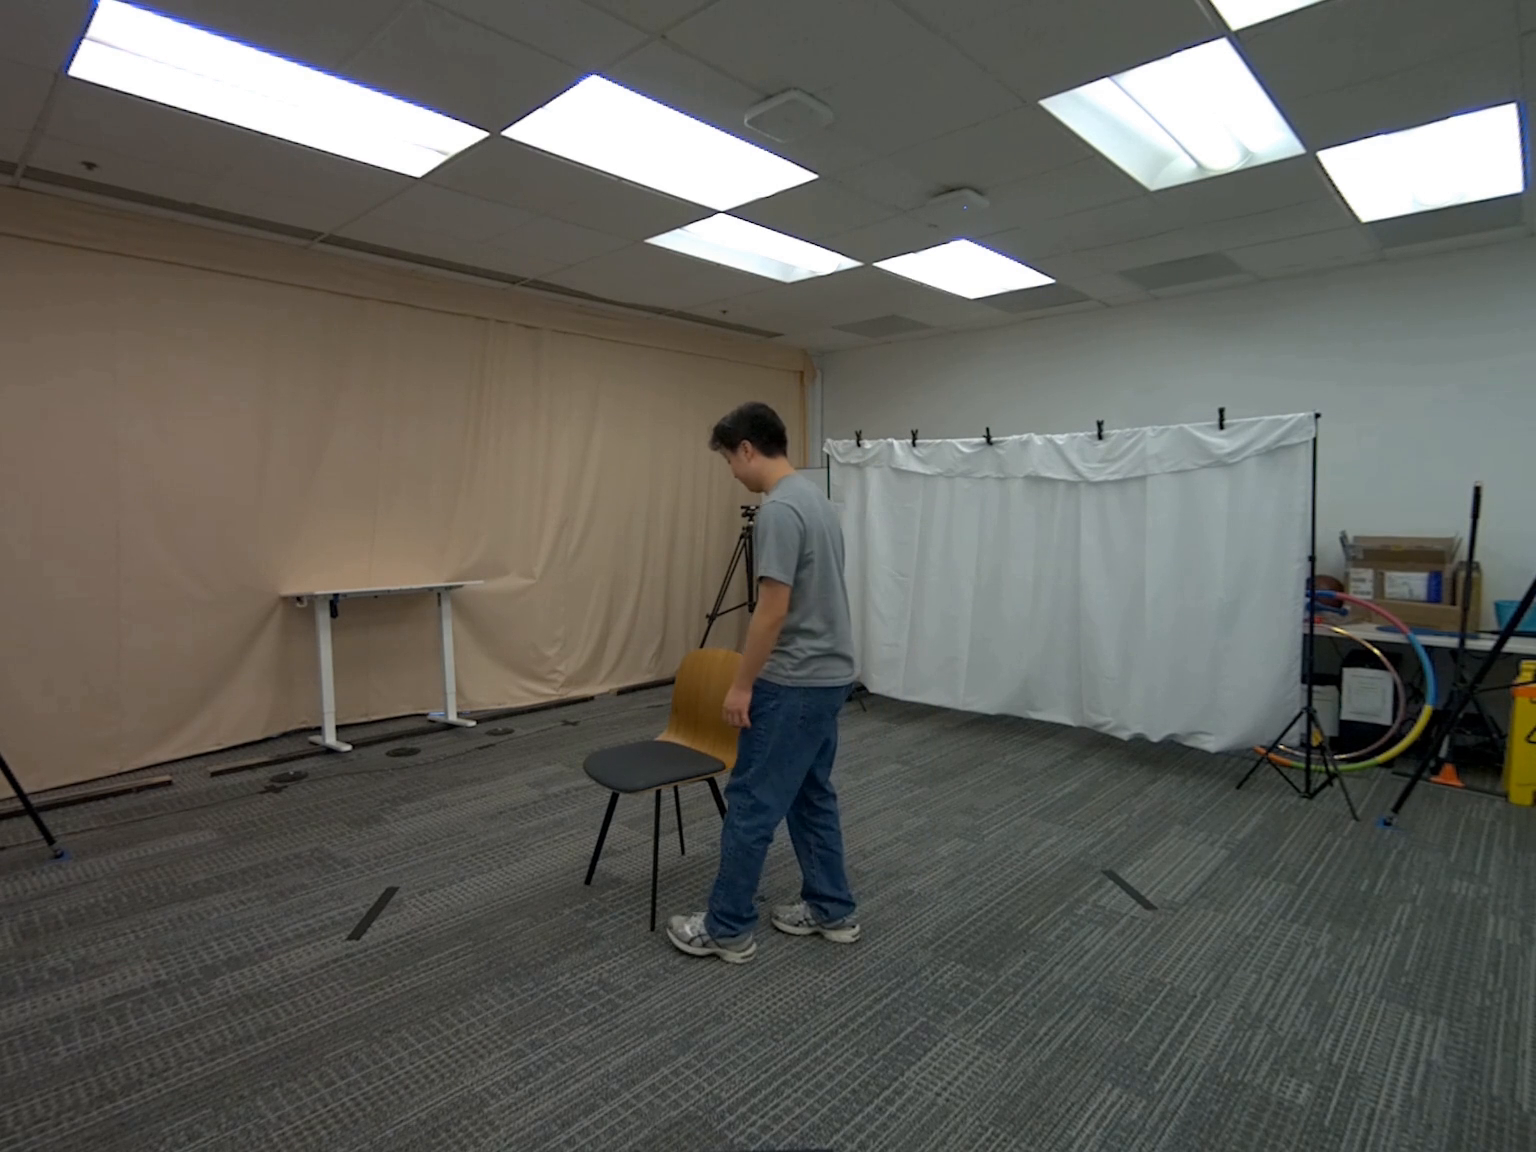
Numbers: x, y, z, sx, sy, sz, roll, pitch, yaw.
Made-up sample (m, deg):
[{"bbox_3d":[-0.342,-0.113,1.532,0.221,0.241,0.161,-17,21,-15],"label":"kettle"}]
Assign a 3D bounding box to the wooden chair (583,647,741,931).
[{"bbox_3d":[-0.368,0.714,3.036,0.506,0.877,0.494,2,1,-40],"label":"wooden chair"}]
